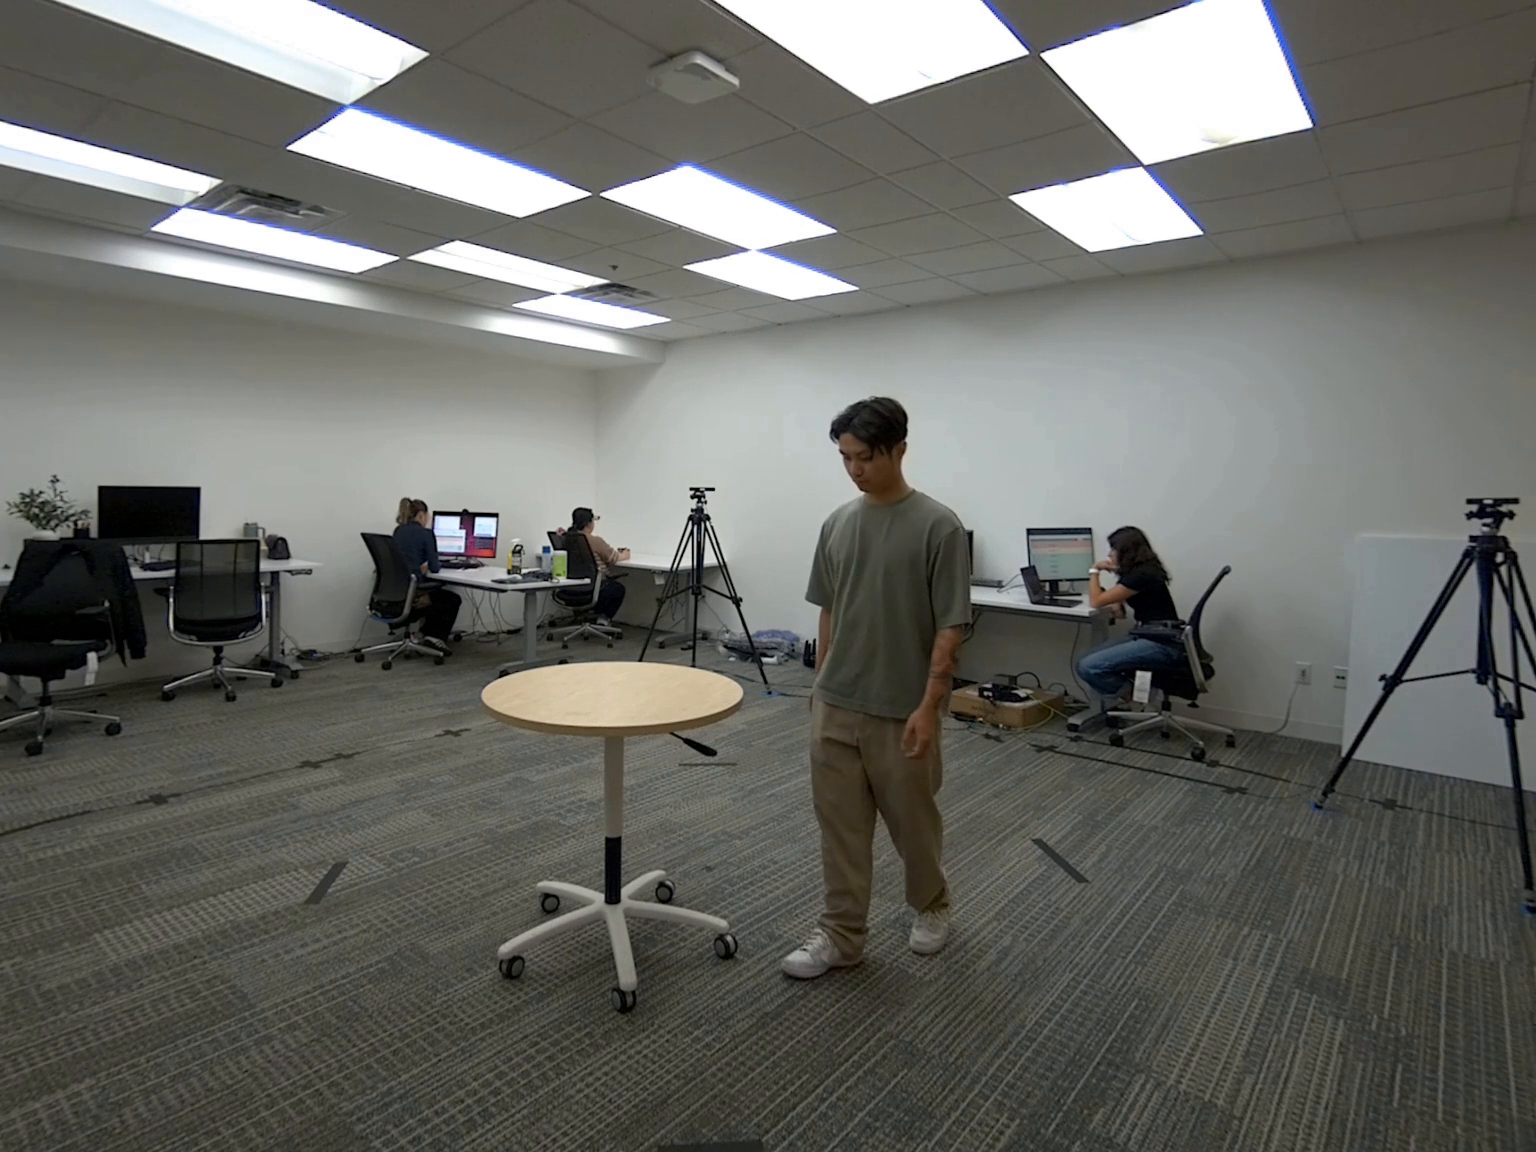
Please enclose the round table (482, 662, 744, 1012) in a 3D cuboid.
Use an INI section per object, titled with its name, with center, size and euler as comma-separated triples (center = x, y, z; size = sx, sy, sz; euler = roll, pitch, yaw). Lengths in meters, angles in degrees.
[round table]
center = -0.456, 0.724, 2.545
size = 0.784, 0.784, 0.789
euler = 1, 4, -2
